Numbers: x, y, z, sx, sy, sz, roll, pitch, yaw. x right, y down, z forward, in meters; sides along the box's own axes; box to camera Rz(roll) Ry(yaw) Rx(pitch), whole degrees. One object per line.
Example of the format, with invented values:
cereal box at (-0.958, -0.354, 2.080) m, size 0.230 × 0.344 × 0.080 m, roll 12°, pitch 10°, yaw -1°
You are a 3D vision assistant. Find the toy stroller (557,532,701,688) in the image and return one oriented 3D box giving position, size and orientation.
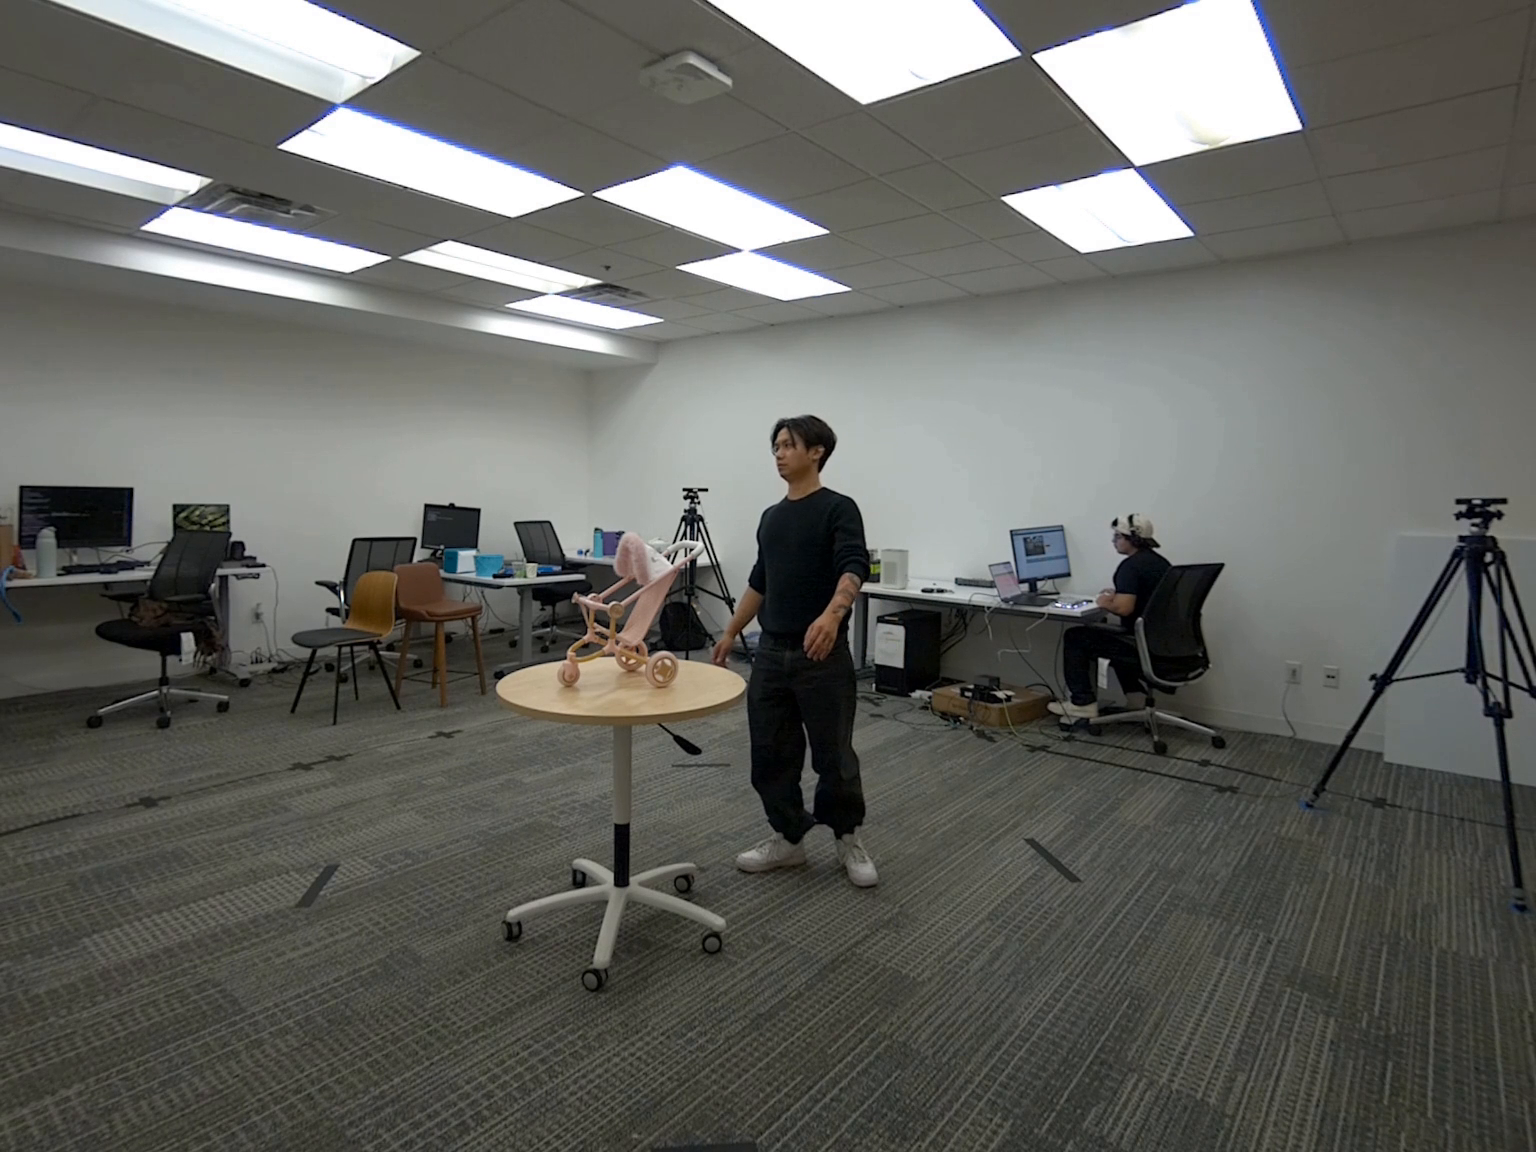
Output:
toy stroller at (-0.454, 0.104, 2.650) m, size 0.332 × 0.536 × 0.289 m, roll 16°, pitch -3°, yaw -24°
